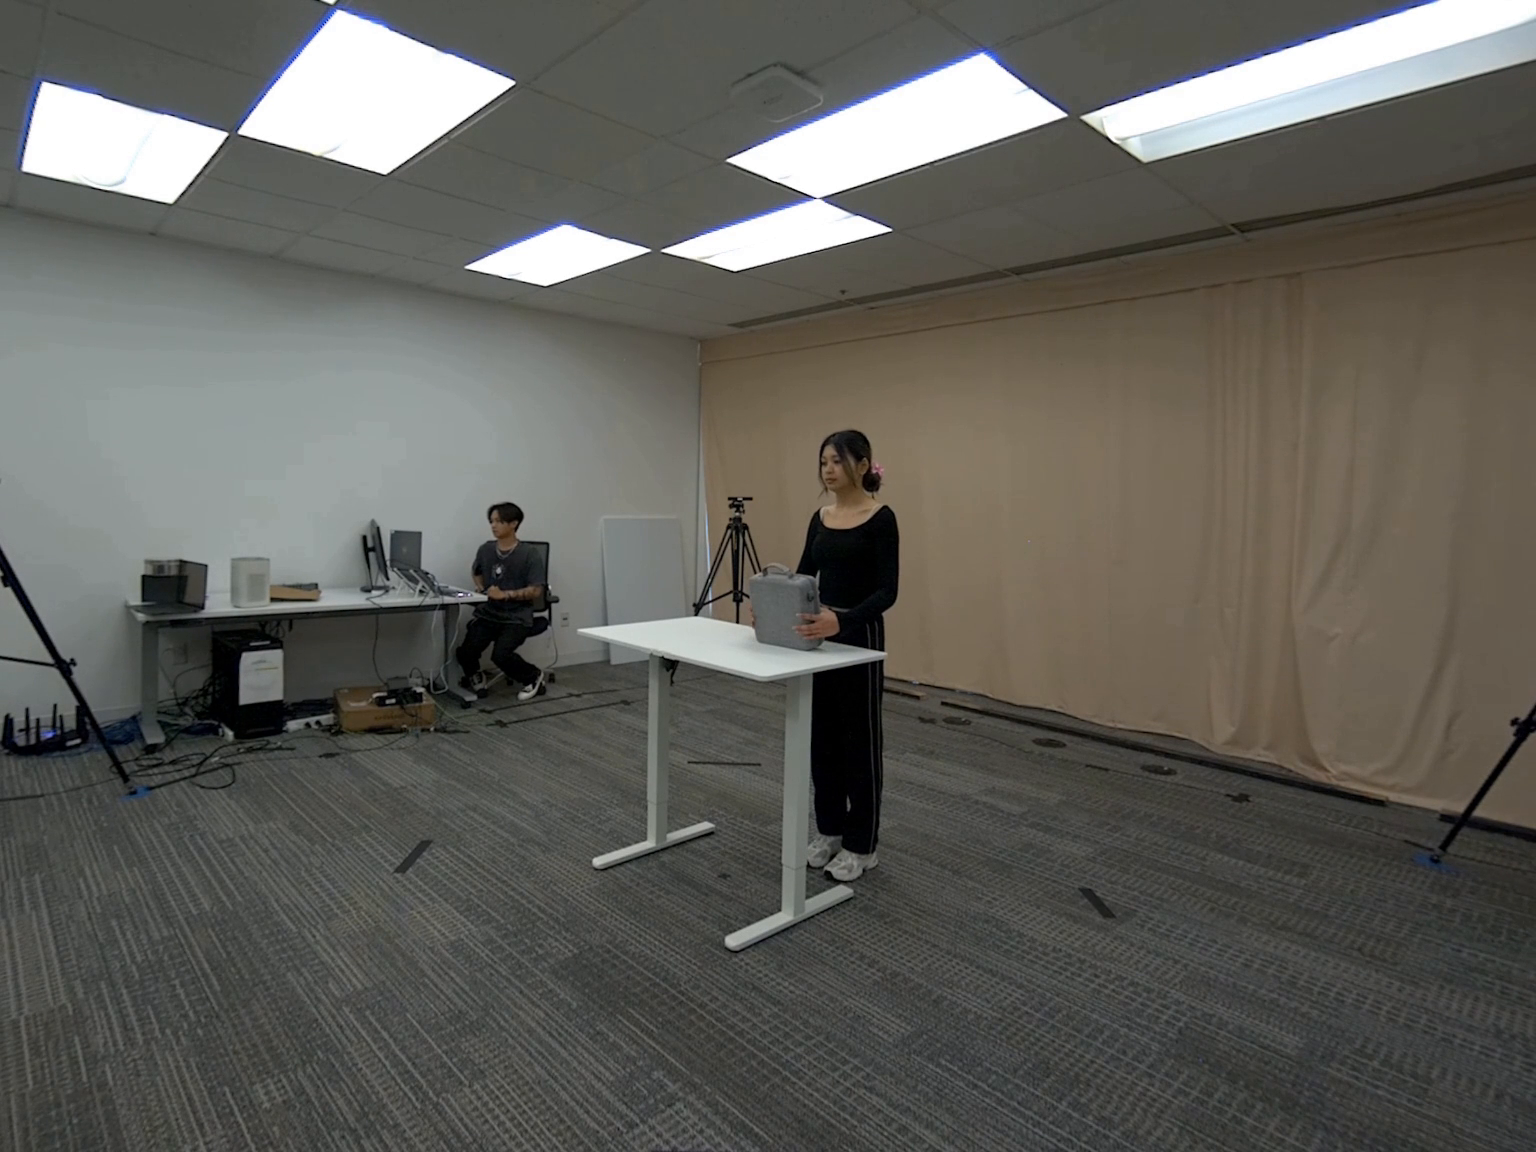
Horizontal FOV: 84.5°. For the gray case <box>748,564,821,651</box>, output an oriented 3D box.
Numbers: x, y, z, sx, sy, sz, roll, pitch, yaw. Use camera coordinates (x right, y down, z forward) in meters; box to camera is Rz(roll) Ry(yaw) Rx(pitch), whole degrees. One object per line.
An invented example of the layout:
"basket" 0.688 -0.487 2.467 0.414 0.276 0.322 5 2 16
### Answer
"gray case" 0.061 0.115 2.922 0.102 0.258 0.263 -16 15 -41
